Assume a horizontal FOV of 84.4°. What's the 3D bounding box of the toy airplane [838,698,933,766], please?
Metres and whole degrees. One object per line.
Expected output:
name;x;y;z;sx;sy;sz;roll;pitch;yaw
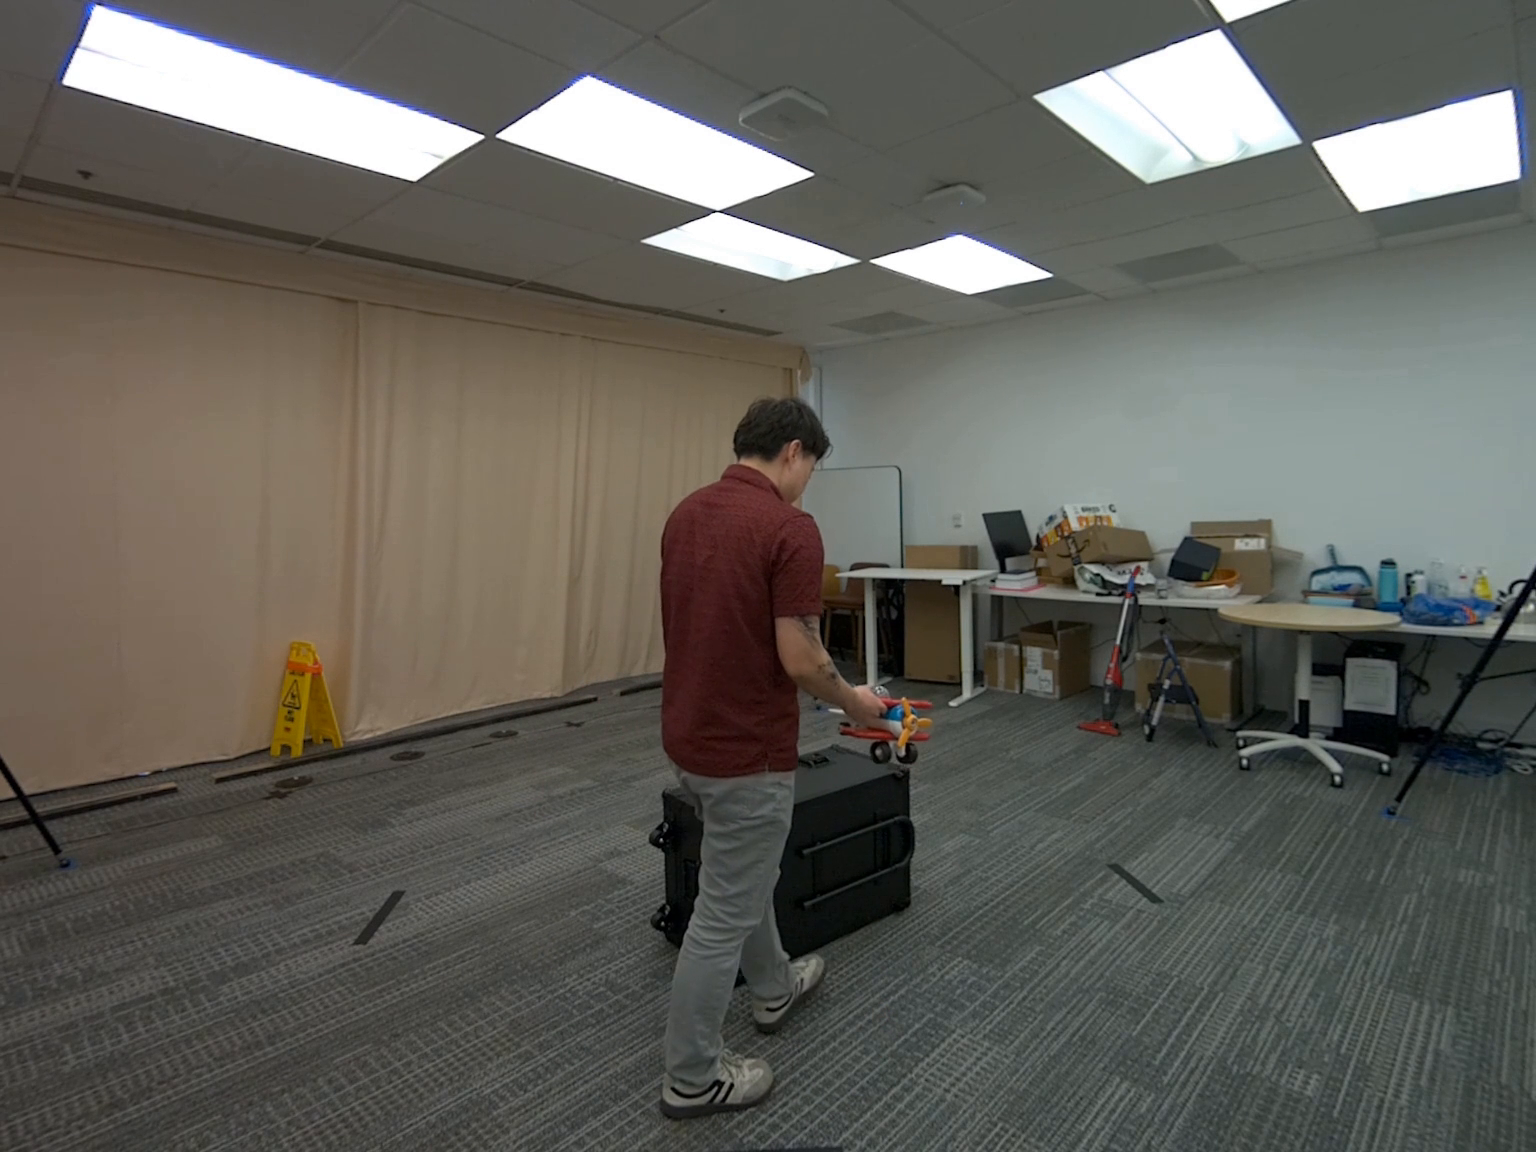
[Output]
toy airplane;0.274;0.367;2.104;0.268;0.156;0.244;17;10;31
